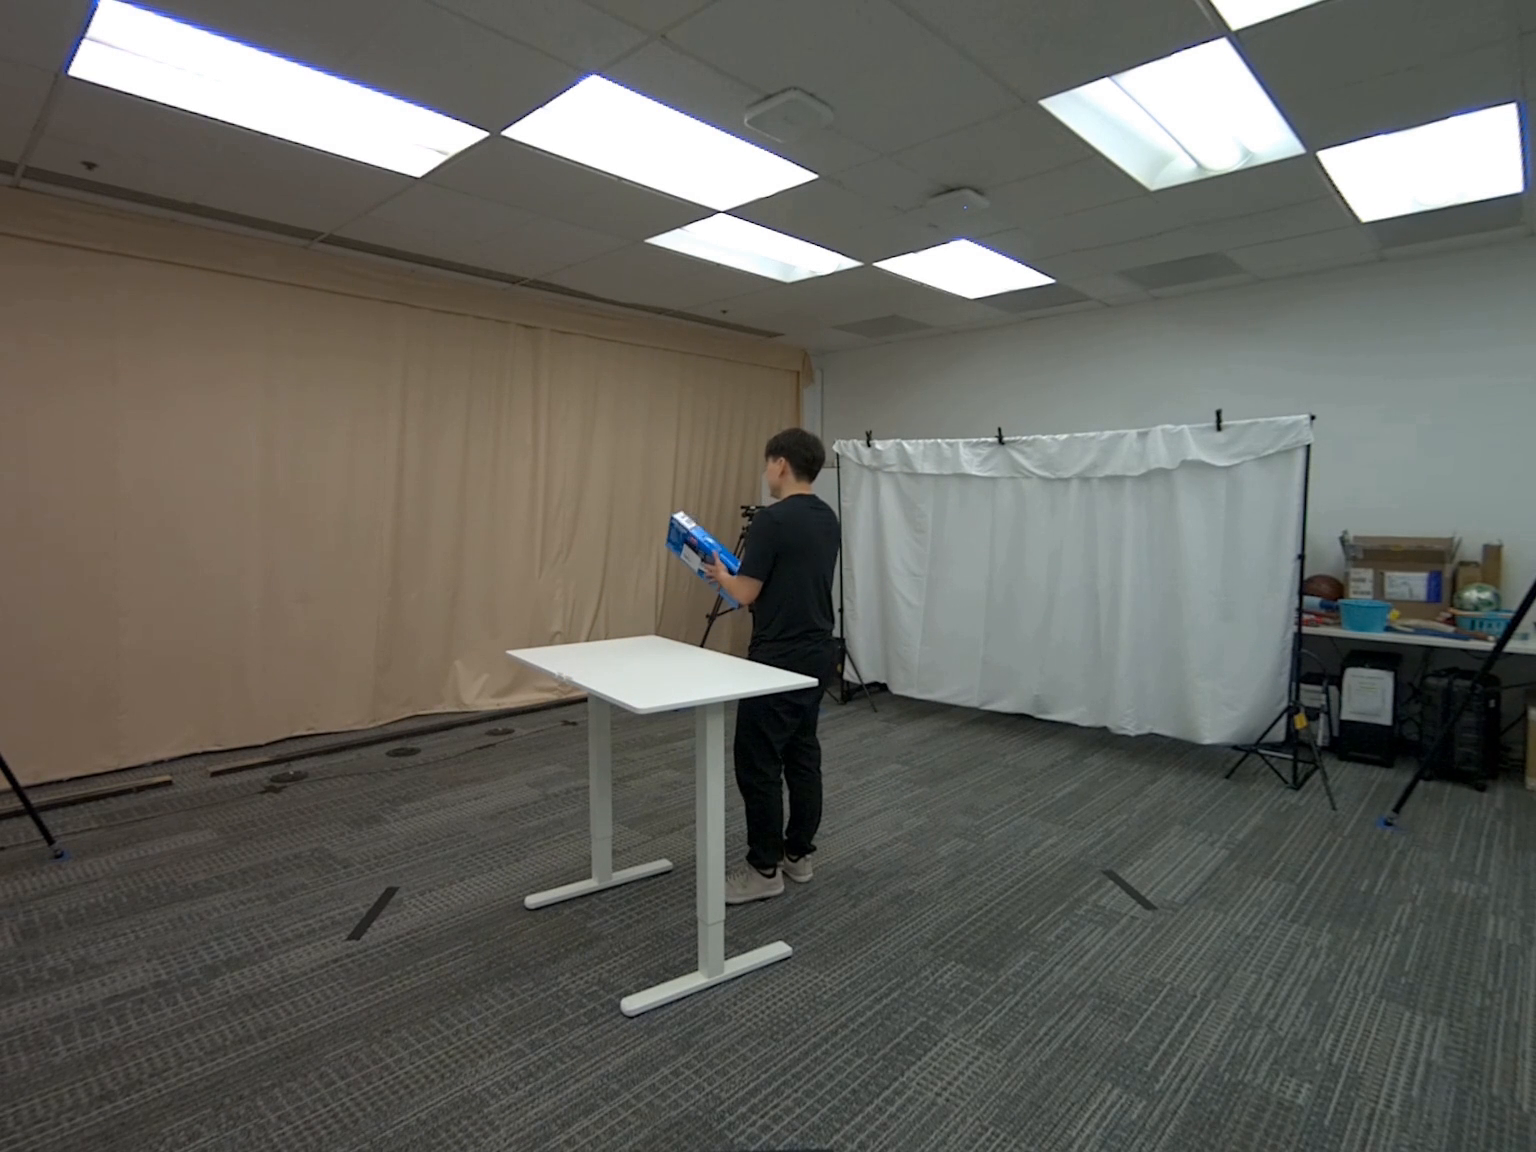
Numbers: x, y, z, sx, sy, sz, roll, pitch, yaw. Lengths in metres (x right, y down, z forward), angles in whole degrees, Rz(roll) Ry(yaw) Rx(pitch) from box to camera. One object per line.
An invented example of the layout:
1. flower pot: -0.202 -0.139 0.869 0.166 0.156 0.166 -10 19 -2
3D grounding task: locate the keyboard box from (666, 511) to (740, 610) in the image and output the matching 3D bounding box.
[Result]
1. keyboard box: -0.234 -0.062 3.341 0.058 0.174 0.450 -27 56 -38
